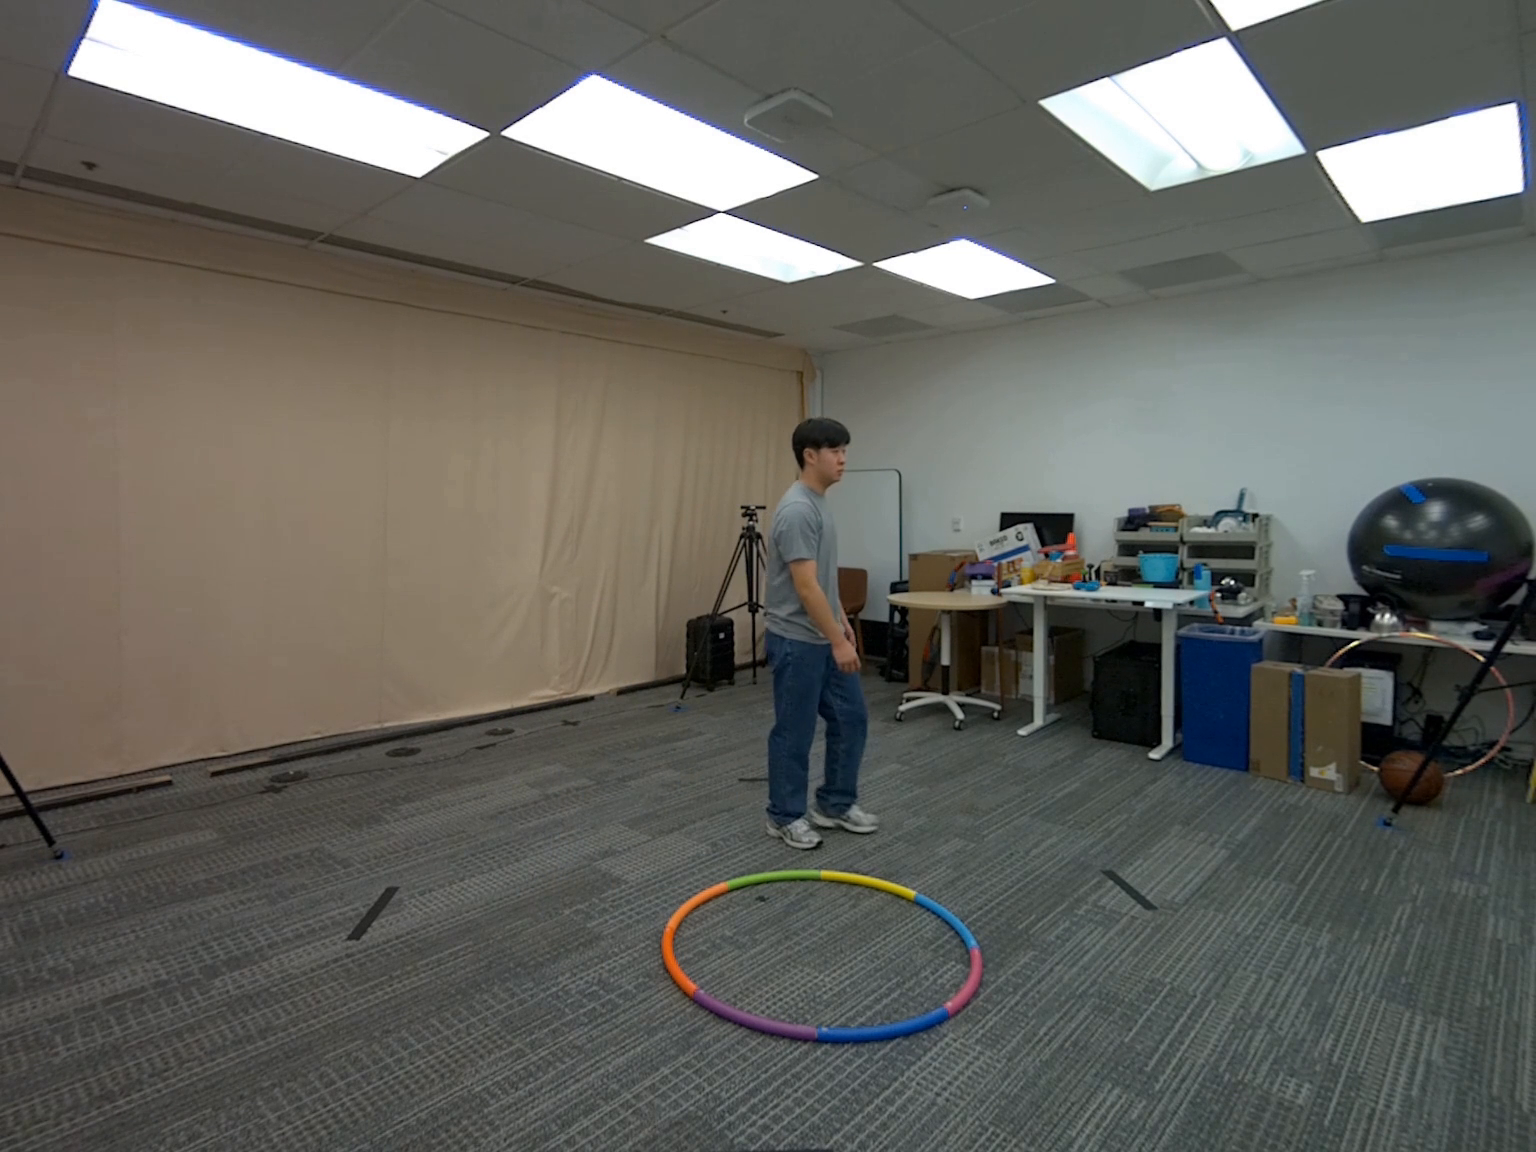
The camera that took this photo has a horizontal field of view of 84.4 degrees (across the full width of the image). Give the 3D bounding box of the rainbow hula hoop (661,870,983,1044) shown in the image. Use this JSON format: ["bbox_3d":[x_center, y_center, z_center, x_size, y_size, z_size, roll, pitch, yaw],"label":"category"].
[{"bbox_3d":[0.160,1.138,2.669,0.978,0.035,0.982,-1,5,-2],"label":"rainbow hula hoop"}]
